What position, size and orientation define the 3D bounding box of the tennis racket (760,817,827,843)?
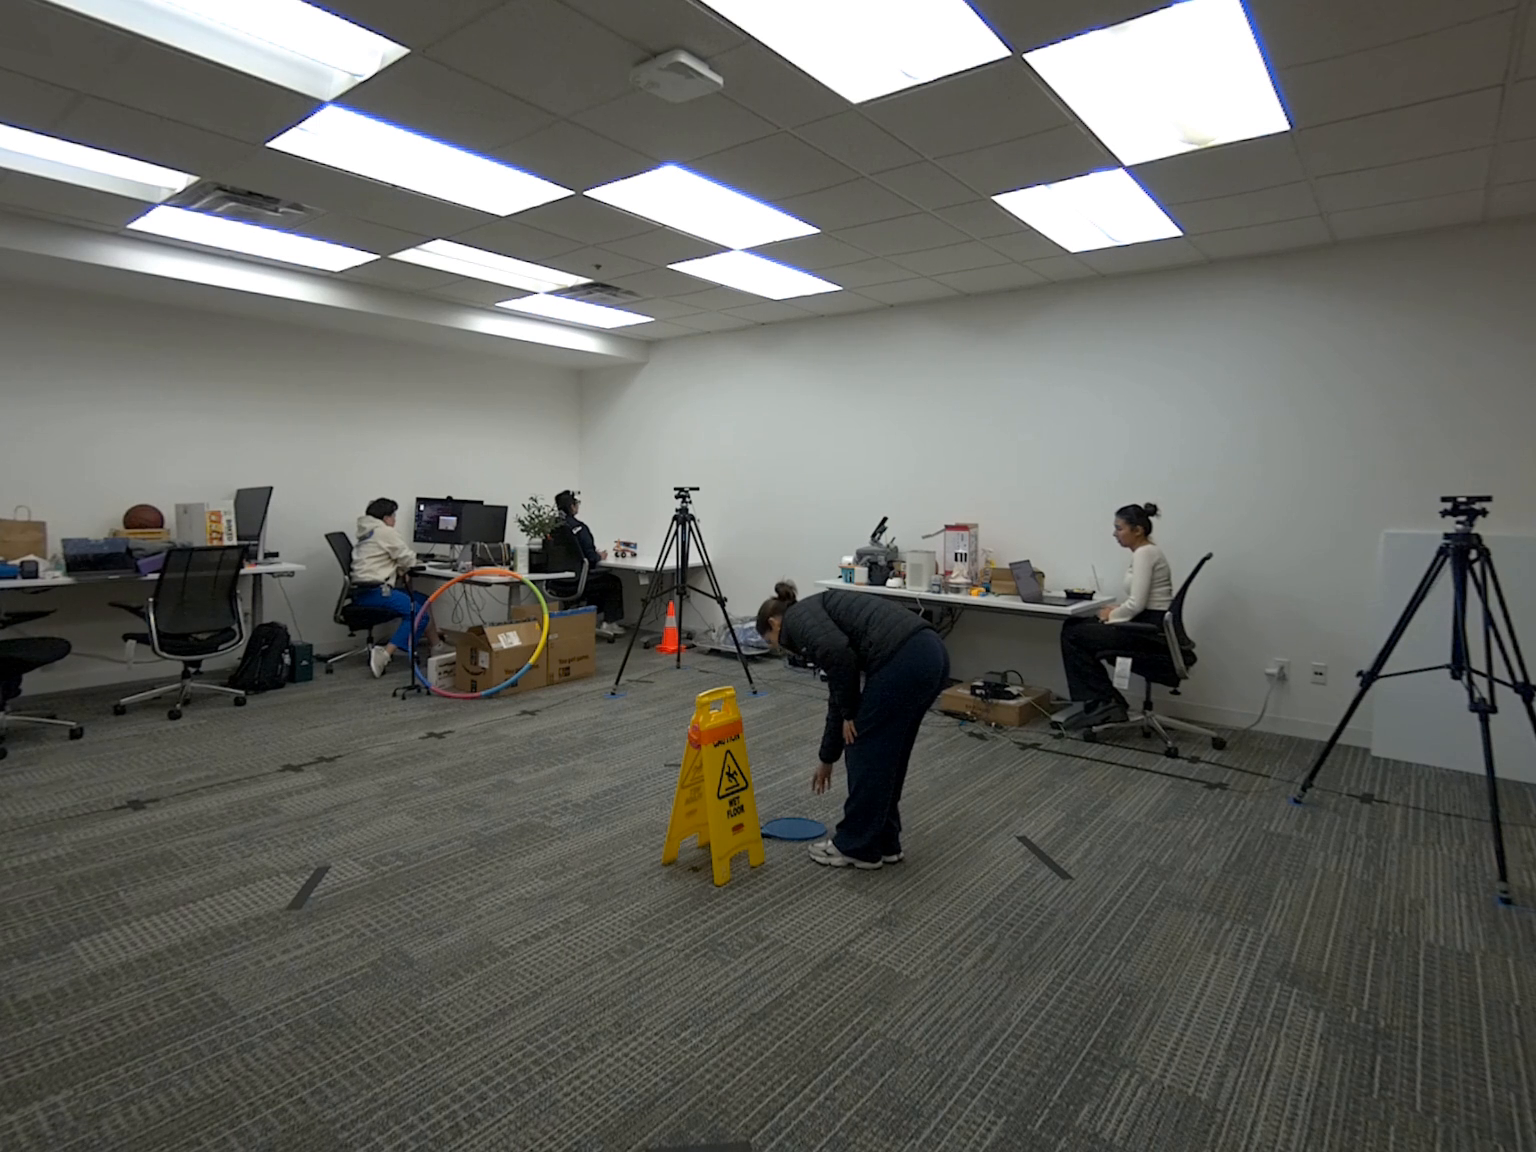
[{"bbox_3d":[0.050,1.017,3.448,0.424,0.032,0.218,0,4,-20],"label":"tennis racket"}]
